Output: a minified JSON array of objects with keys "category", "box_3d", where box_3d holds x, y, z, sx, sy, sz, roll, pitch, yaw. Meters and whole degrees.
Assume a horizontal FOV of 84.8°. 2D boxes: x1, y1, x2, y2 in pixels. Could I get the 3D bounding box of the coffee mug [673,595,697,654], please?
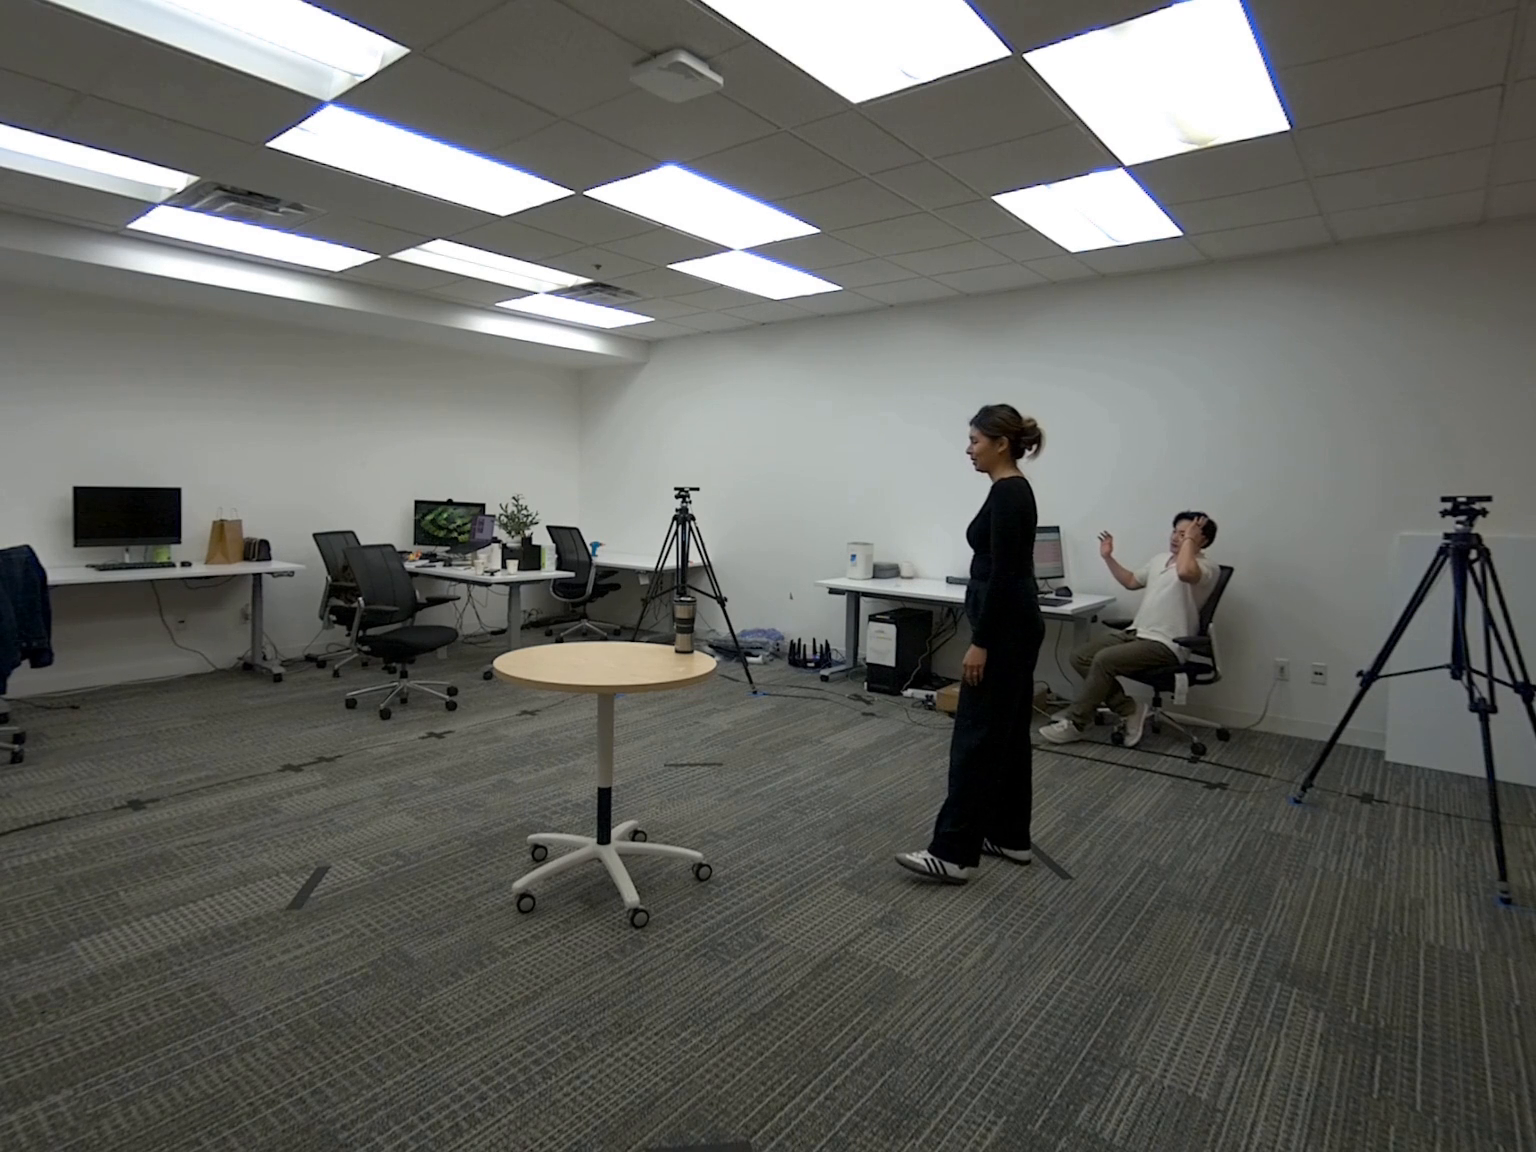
[{"category":"coffee mug","box_3d":[-0.305,0.177,3.169,0.091,0.202,0.119,1,8,37]}]
